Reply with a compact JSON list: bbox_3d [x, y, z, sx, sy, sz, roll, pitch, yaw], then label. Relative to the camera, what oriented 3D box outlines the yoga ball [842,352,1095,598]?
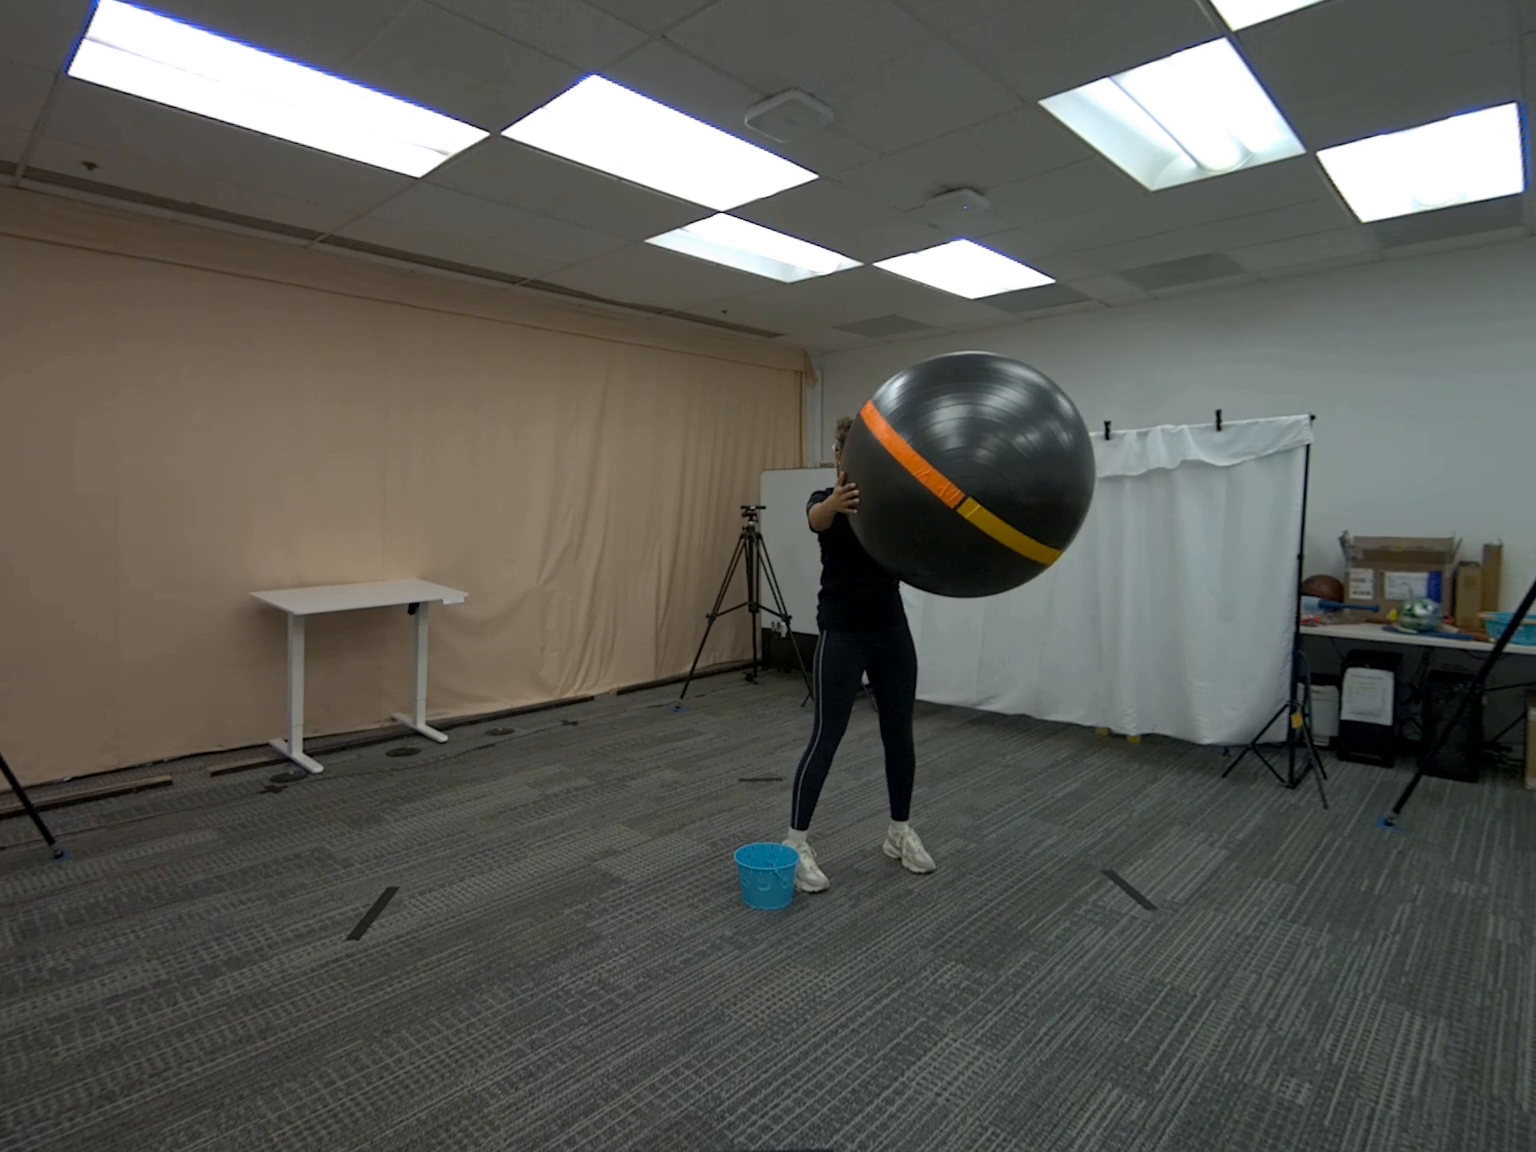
[{"bbox_3d":[0.609,-0.300,2.633,0.757,0.756,0.760,0,4,-2],"label":"yoga ball"}]
